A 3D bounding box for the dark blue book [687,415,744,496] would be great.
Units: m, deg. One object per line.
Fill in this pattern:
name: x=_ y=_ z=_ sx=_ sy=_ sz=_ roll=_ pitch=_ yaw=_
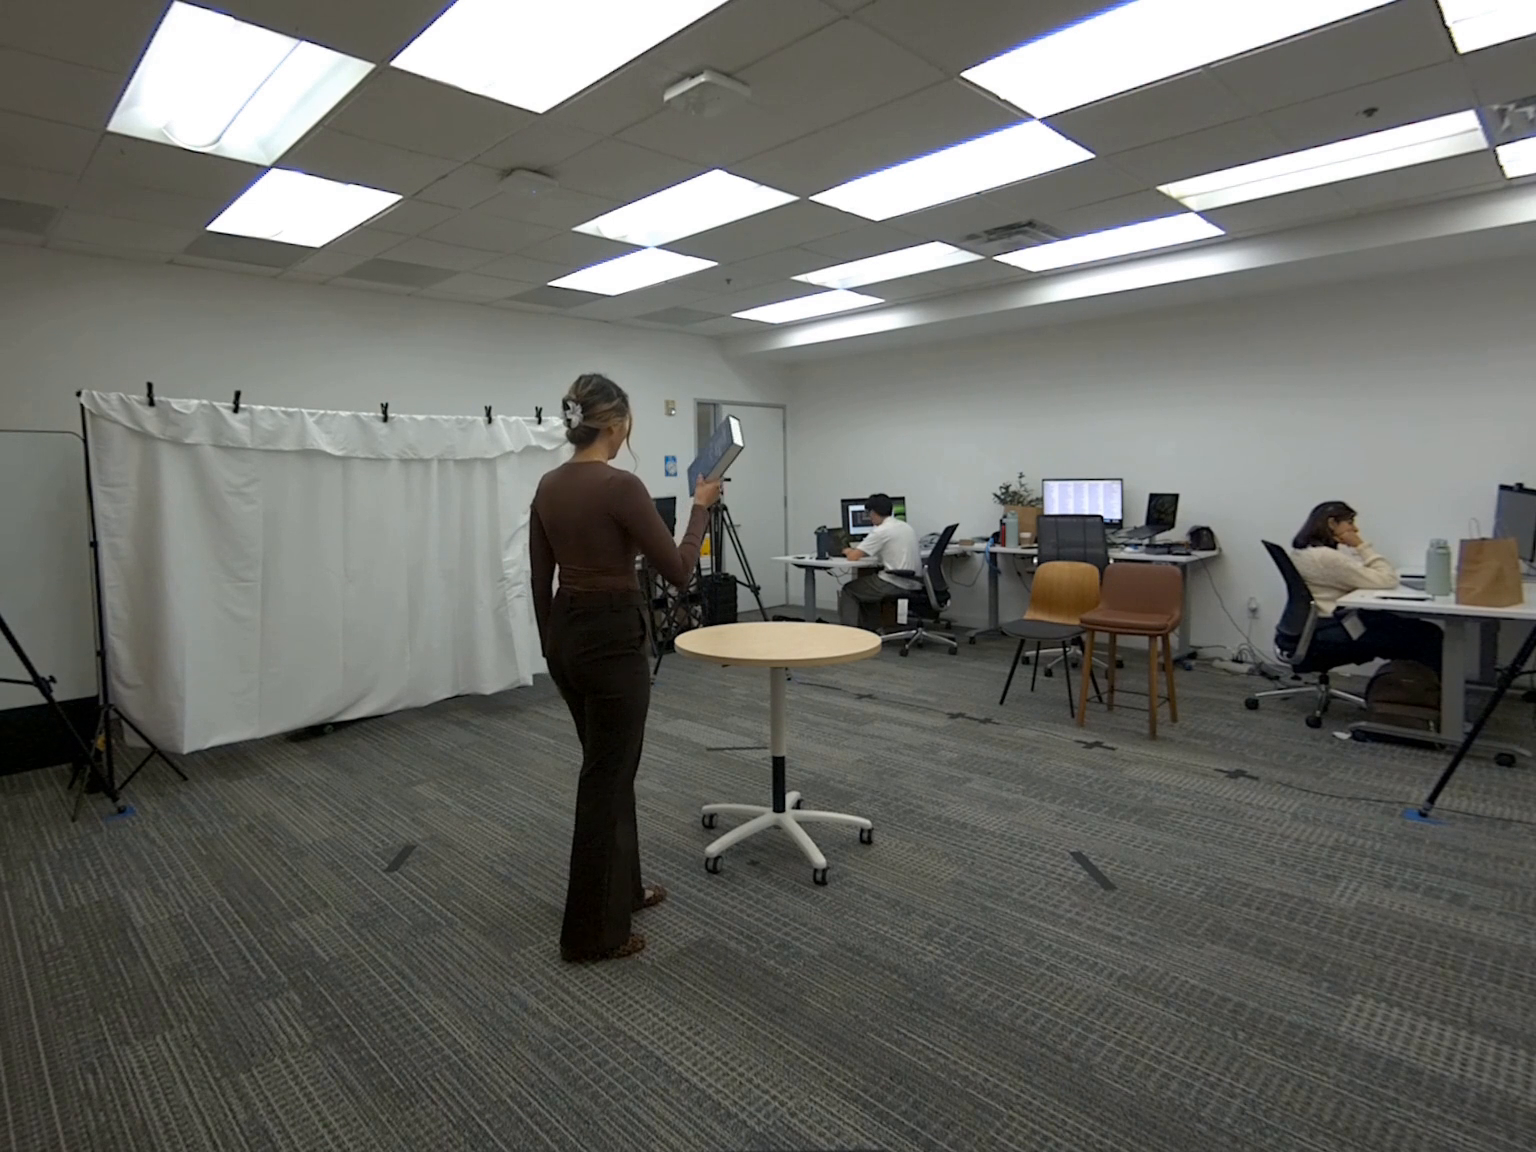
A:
dark blue book: x=-0.165 y=-0.370 z=2.690 sx=0.044 sy=0.244 sz=0.168 roll=25 pitch=32 yaw=-27
